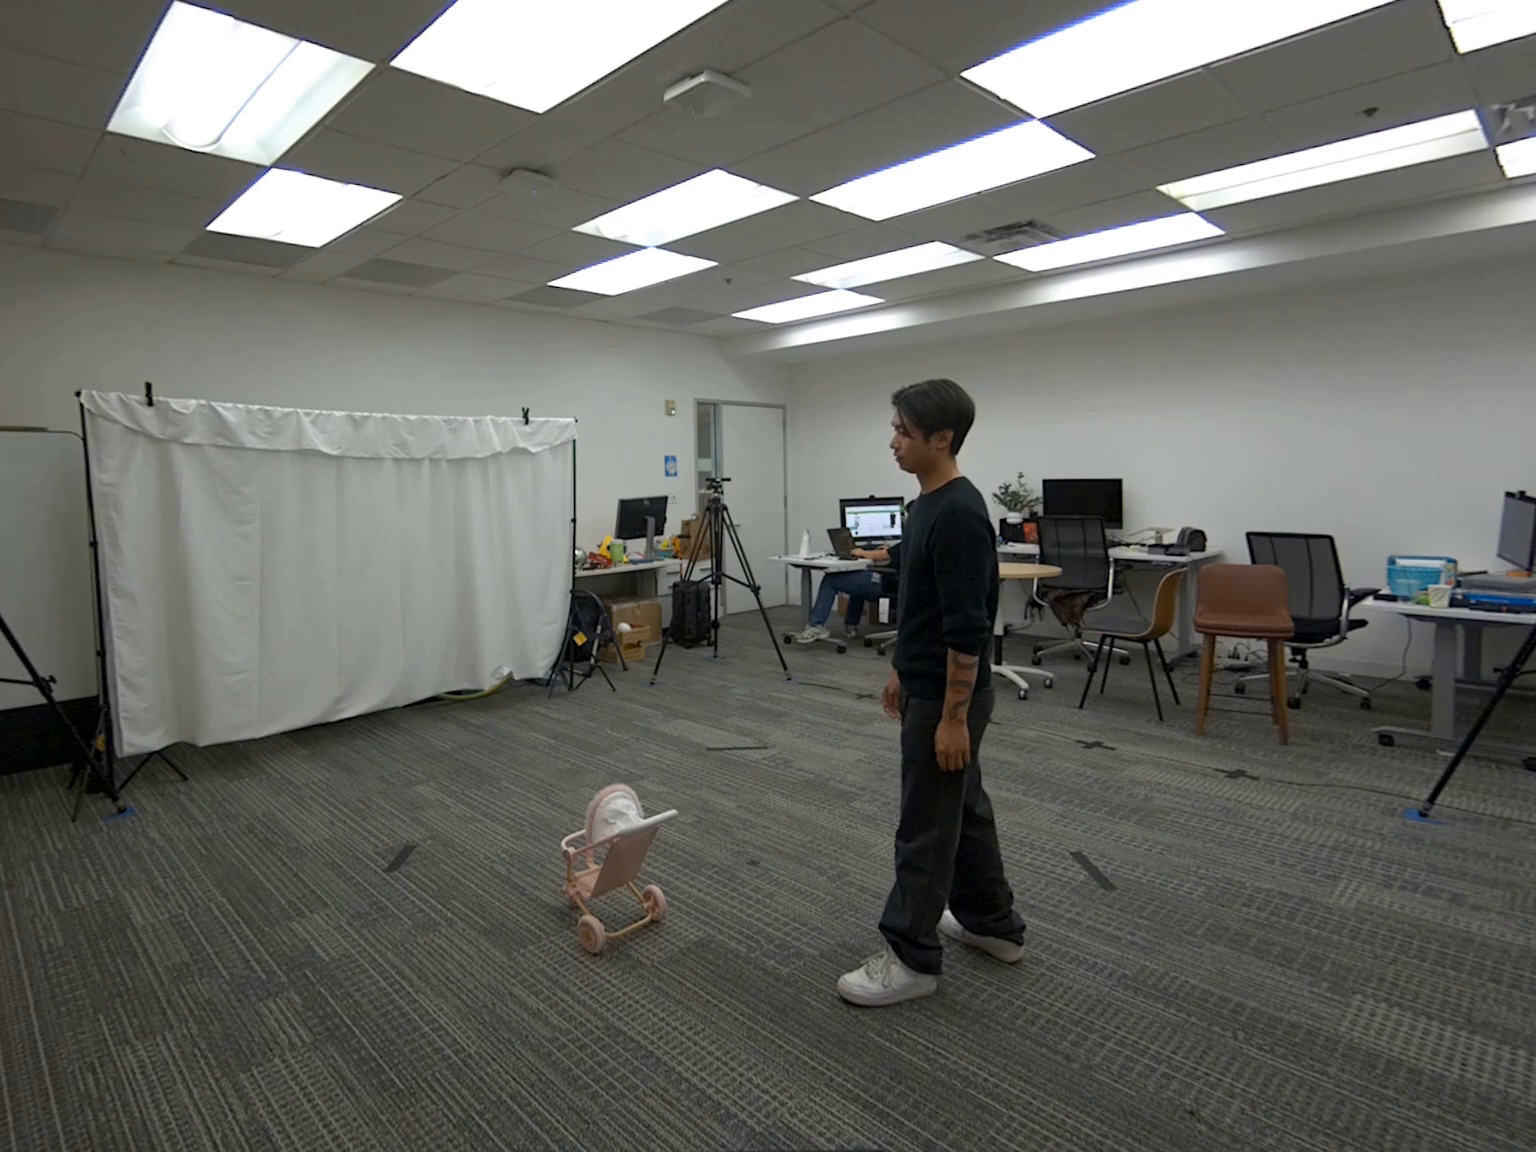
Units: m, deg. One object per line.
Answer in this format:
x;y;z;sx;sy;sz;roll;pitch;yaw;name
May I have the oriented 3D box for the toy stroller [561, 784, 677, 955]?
-0.487;0.883;2.661;0.274;0.529;0.354;-5;24;-42;toy stroller
